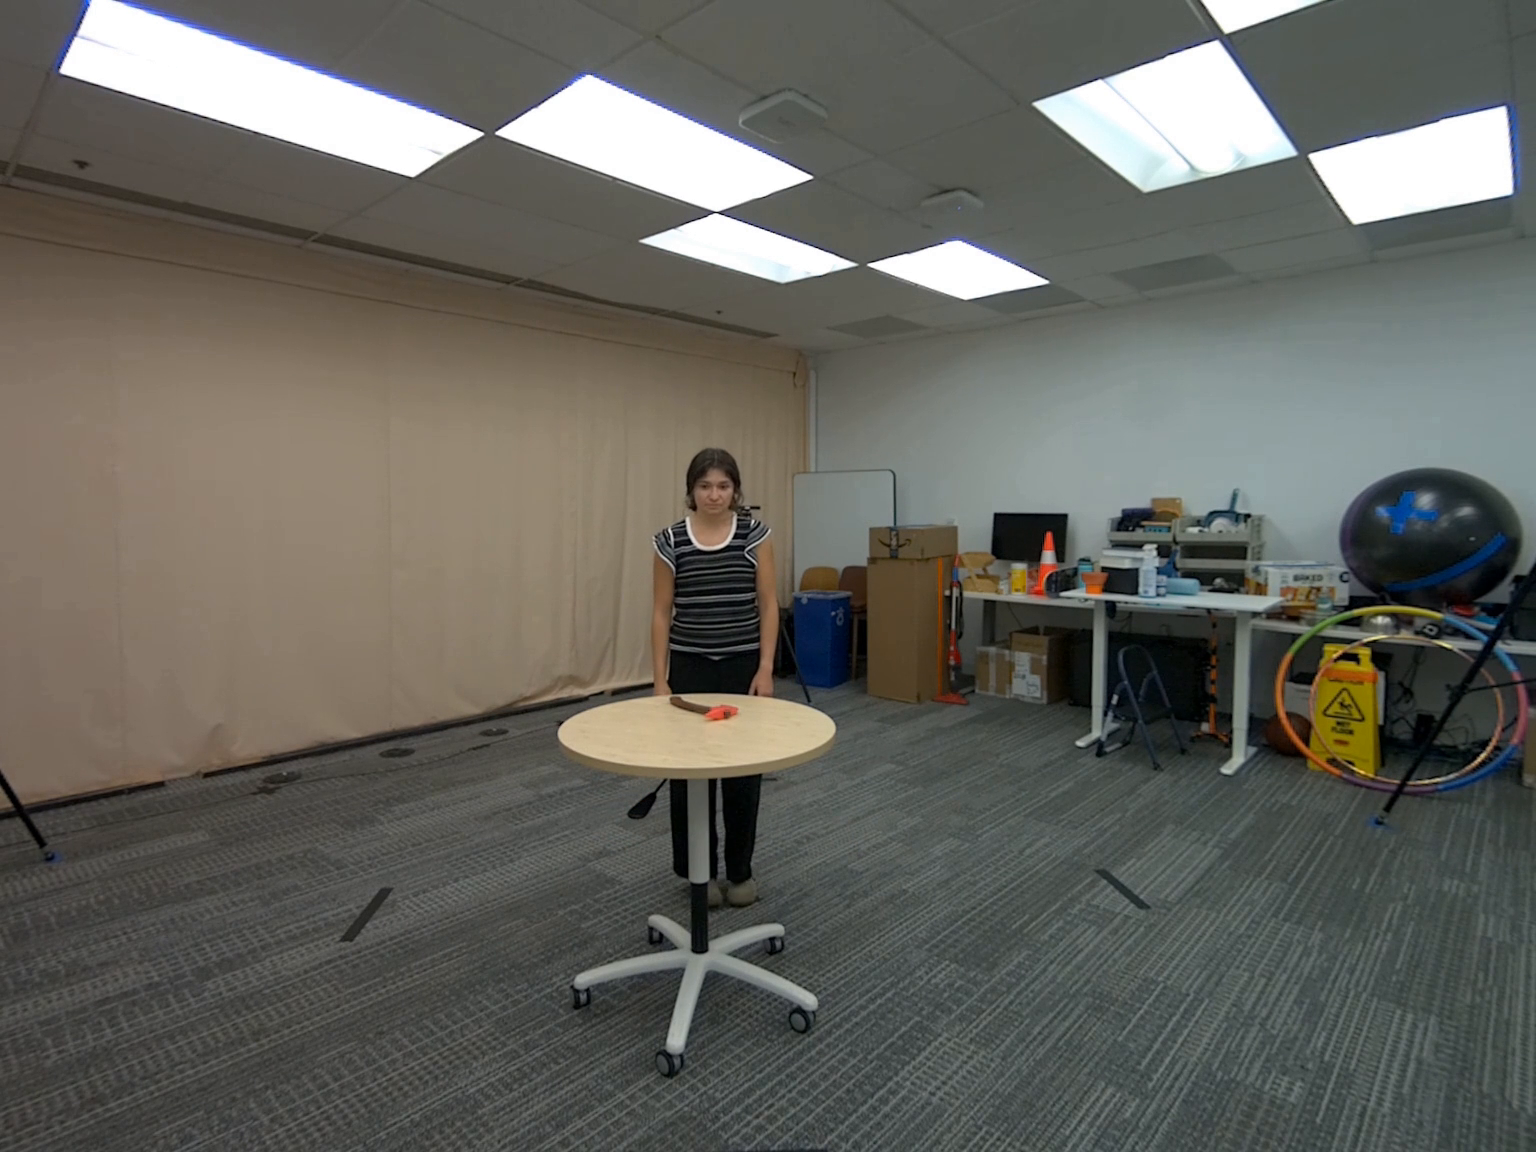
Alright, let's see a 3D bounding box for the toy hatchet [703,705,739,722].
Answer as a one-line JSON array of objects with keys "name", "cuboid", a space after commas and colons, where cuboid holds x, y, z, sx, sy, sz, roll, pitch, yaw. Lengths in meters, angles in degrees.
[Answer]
[{"name": "toy hatchet", "cuboid": [-0.184, 0.389, 2.512, 0.128, 0.029, 0.277, -2, 4, -28]}]
